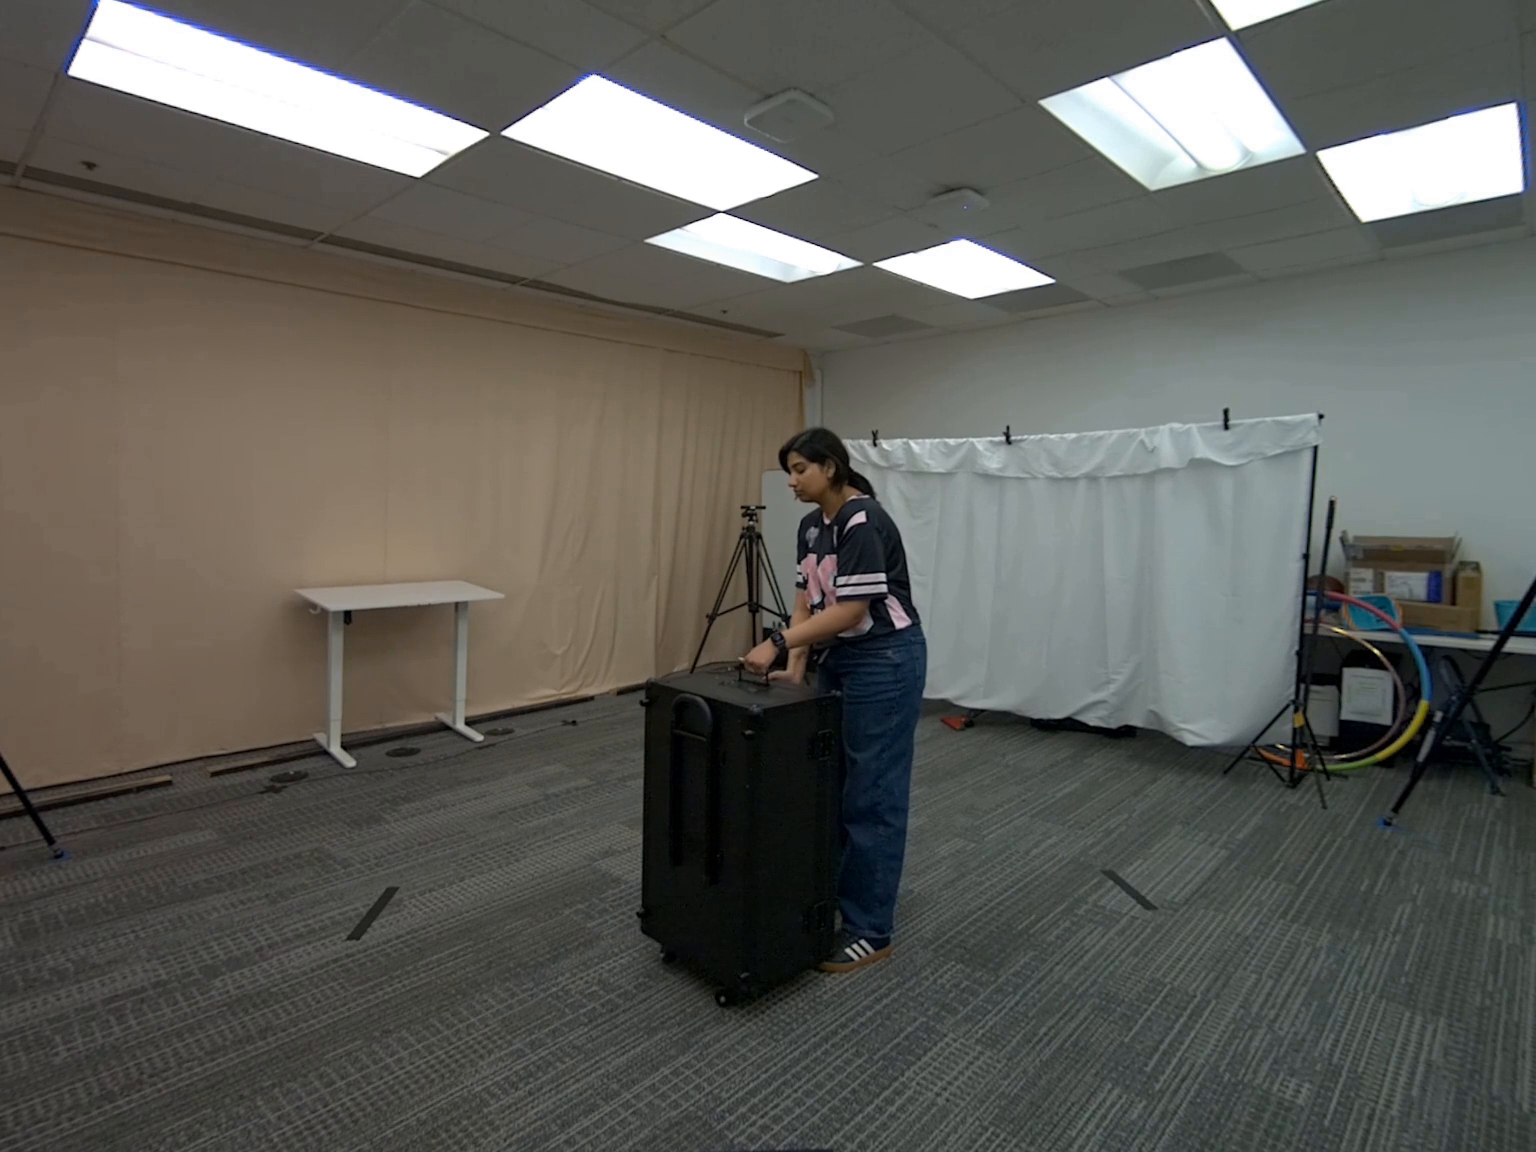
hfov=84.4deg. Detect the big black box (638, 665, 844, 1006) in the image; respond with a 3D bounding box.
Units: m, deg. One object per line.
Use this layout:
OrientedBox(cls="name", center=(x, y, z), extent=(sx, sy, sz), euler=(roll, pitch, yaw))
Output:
OrientedBox(cls="big black box", center=(-0.085, 0.759, 2.507), extent=(0.373, 0.867, 0.541), euler=(0, 2, -44))
